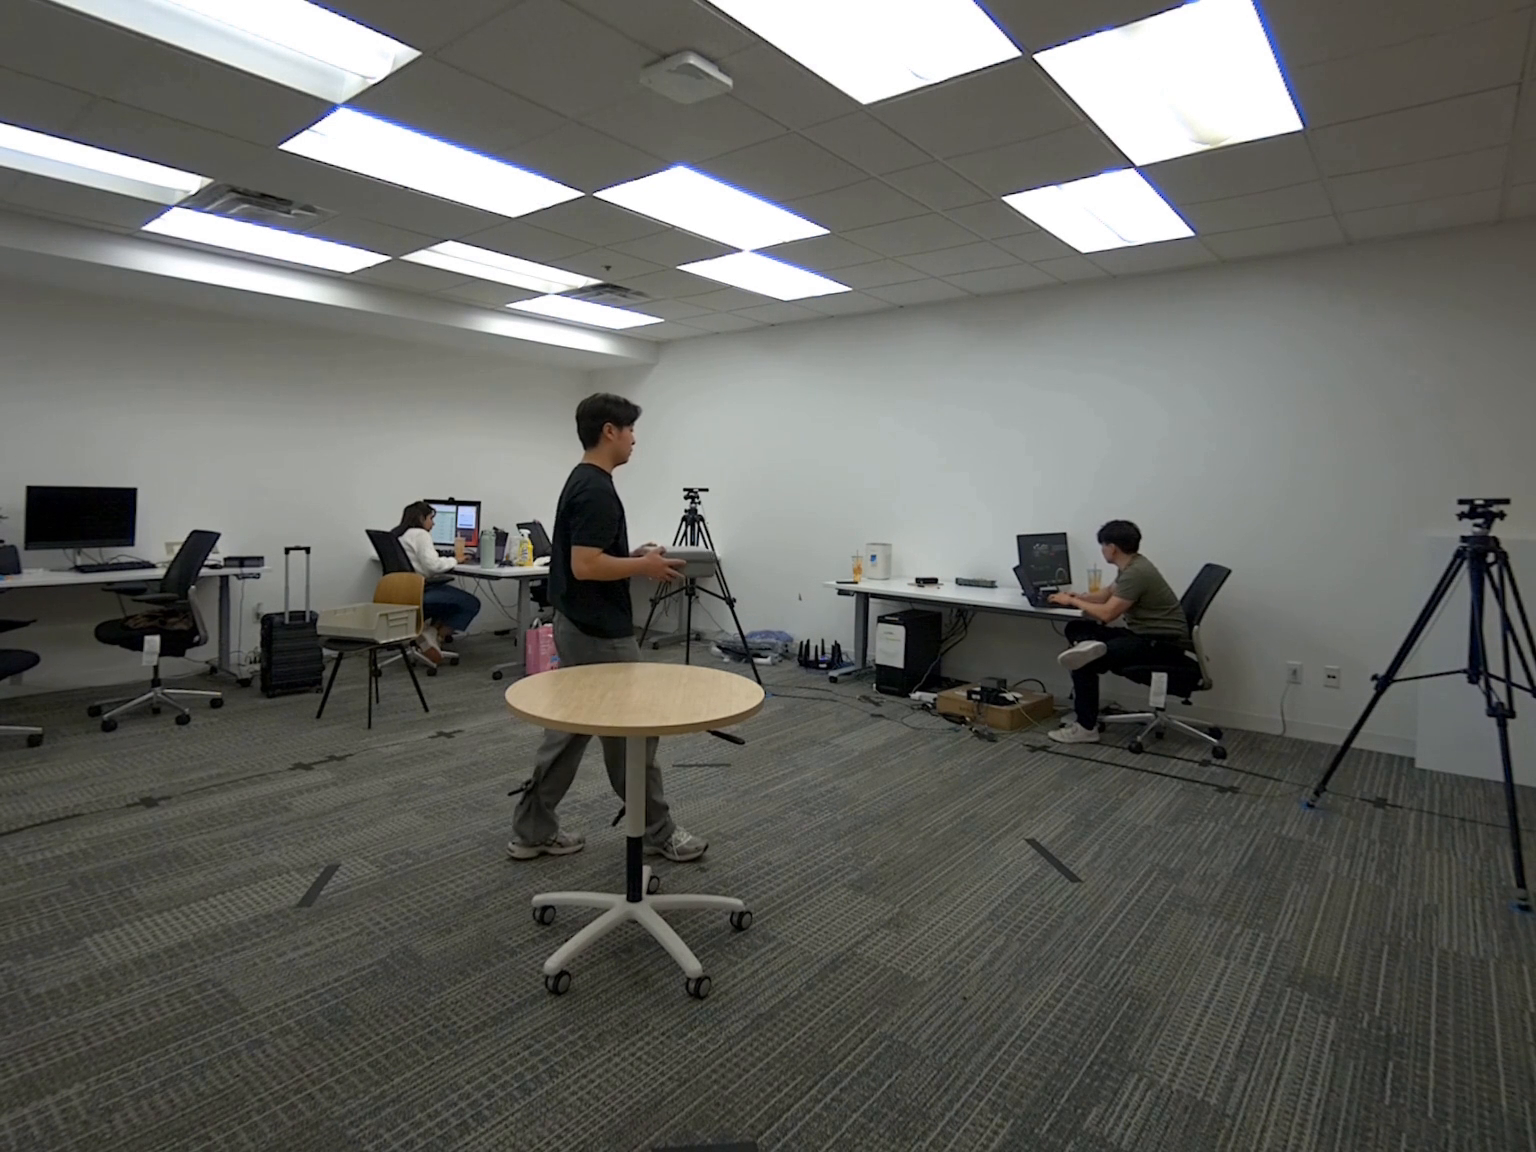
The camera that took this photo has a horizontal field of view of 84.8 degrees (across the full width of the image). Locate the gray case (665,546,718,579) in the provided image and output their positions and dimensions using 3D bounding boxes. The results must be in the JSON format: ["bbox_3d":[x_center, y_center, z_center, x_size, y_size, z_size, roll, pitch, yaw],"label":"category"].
[{"bbox_3d":[-0.366,-0.065,3.288,0.282,0.102,0.269,0,6,-17],"label":"gray case"}]
